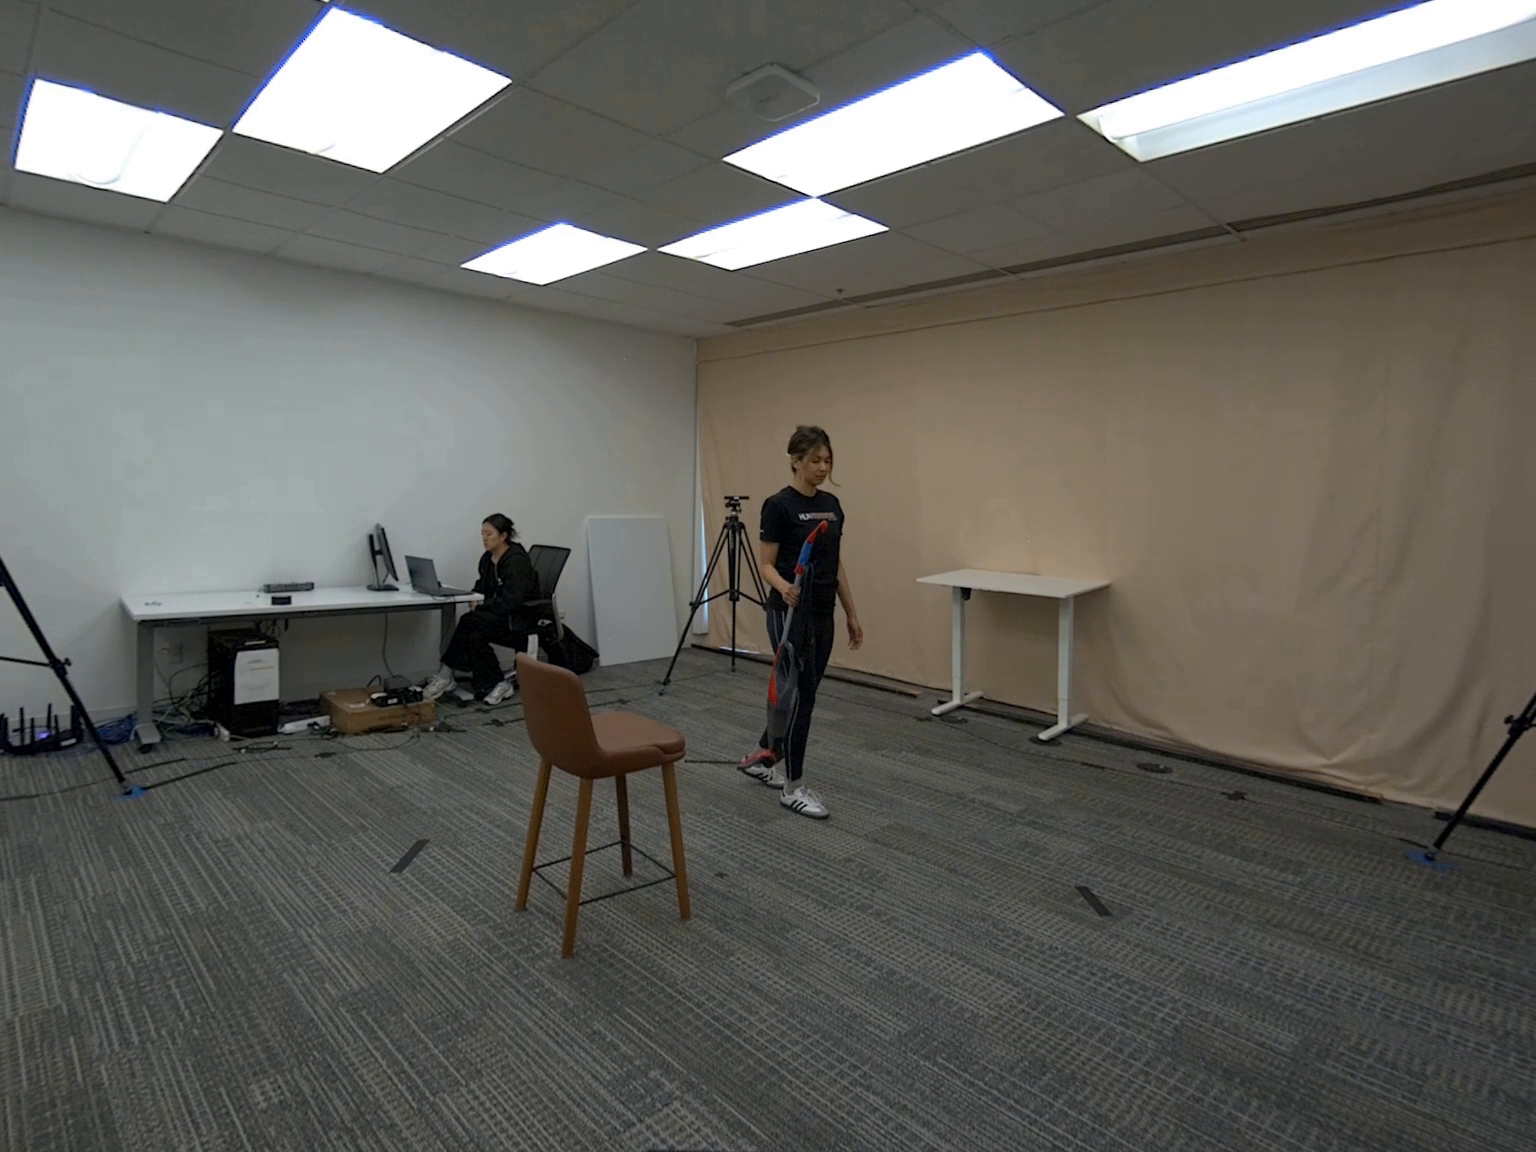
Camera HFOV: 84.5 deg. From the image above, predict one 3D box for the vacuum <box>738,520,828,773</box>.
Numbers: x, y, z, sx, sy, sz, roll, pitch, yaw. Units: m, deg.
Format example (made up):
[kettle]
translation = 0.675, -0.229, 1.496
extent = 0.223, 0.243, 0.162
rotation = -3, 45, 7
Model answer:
[vacuum]
translation = 0.092, 0.292, 3.458
extent = 0.148, 1.042, 0.247
rotation = 22, 15, 31
